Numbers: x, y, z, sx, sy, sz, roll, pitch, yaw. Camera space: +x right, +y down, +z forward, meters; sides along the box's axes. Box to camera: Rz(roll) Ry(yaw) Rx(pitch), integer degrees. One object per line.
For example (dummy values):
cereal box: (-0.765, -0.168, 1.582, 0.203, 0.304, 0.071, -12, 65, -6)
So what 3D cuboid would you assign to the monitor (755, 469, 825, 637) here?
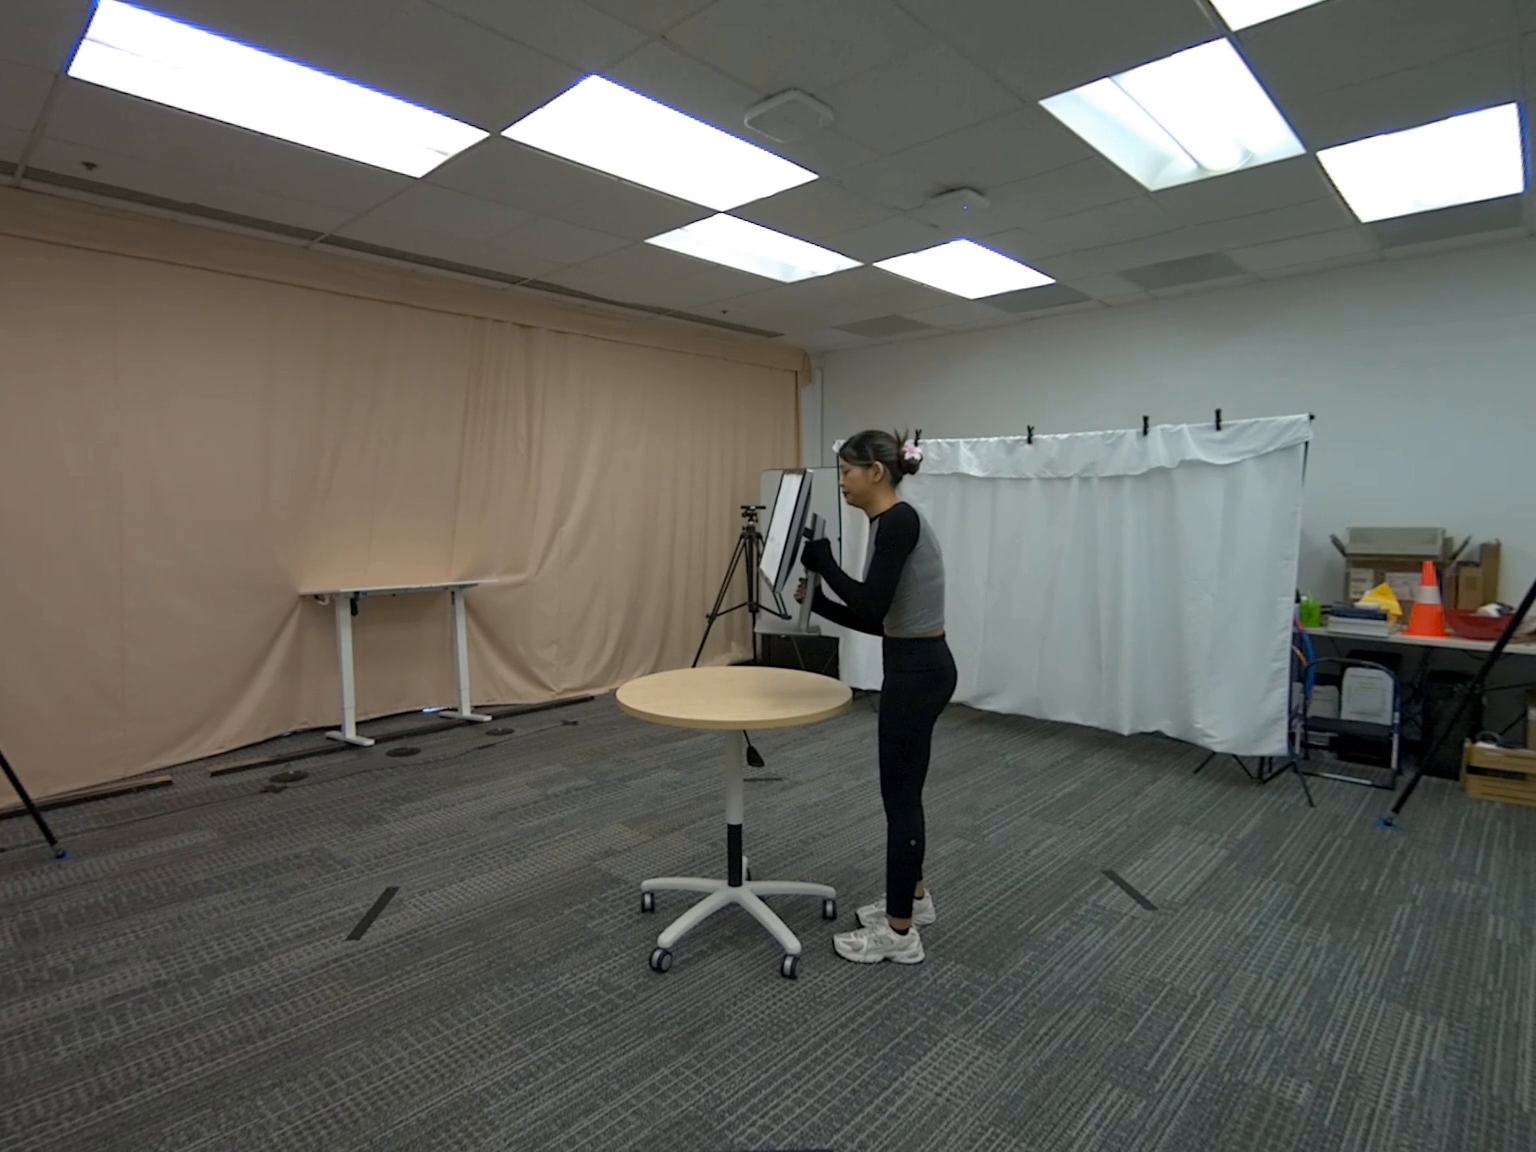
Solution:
monitor: (0.085, -0.071, 2.649, 0.186, 0.521, 0.544, 2, 6, -6)
